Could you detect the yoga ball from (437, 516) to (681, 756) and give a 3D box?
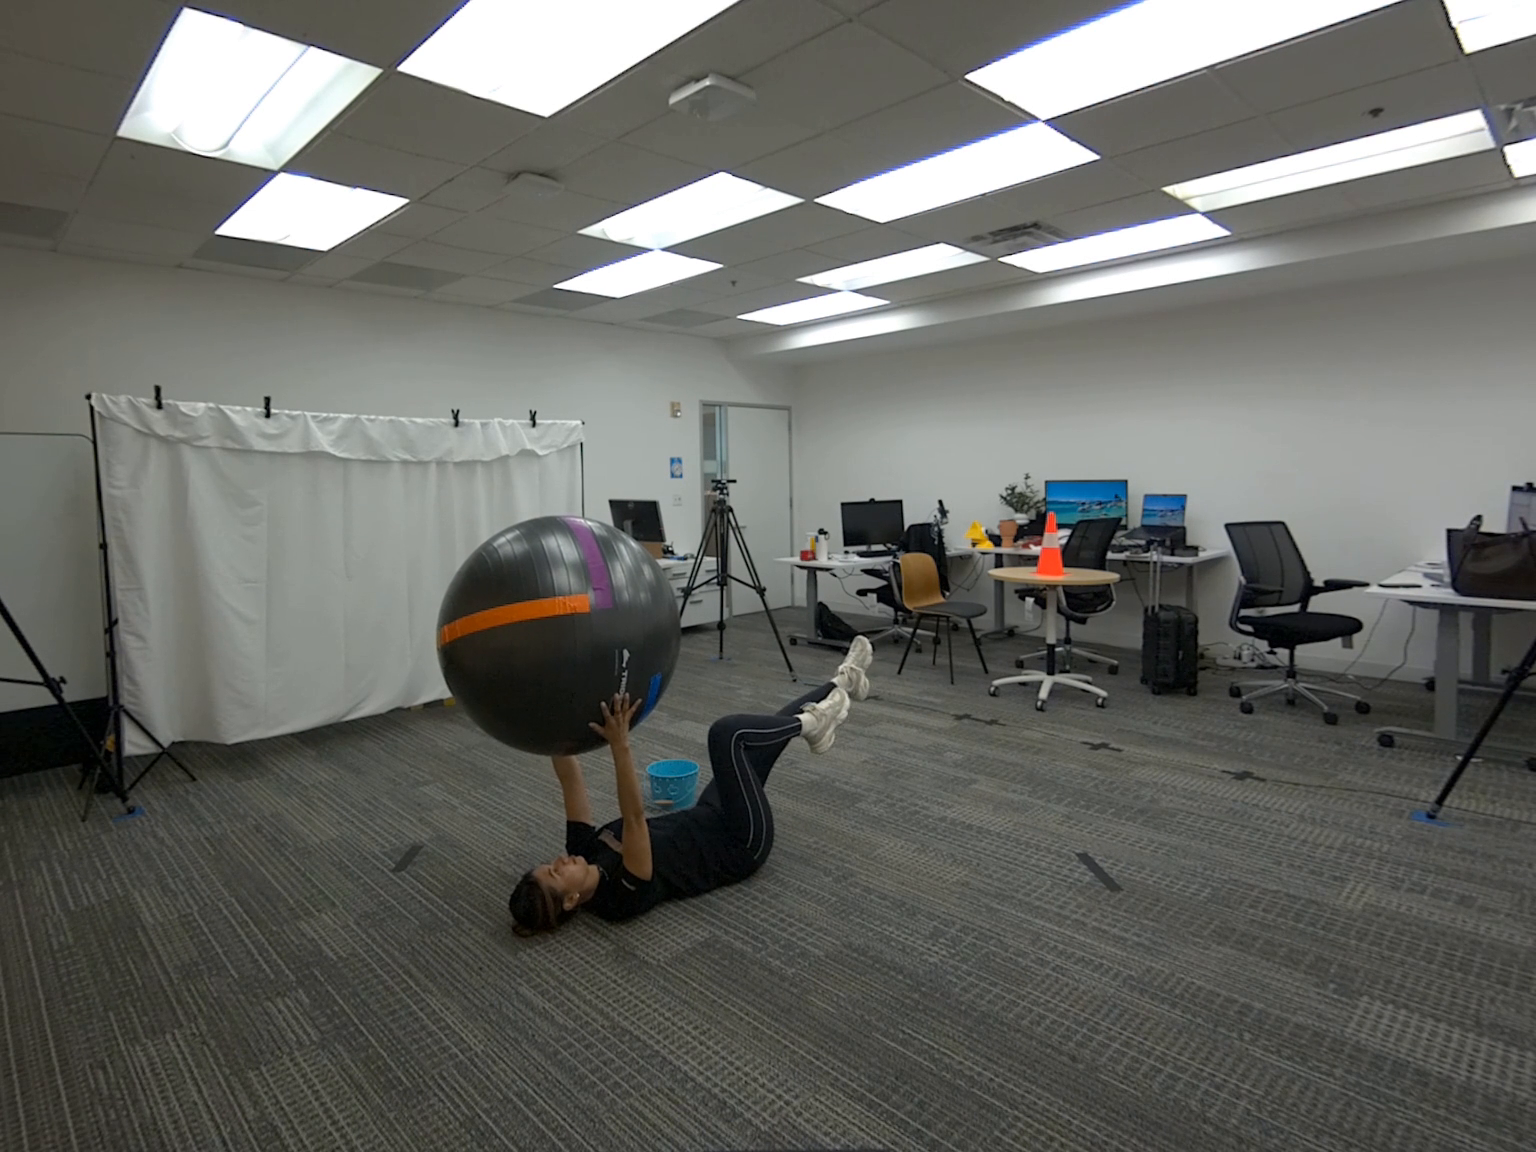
[{"bbox_3d":[-0.657,0.187,2.725,0.757,0.757,0.759,0,1,-2],"label":"yoga ball"}]
